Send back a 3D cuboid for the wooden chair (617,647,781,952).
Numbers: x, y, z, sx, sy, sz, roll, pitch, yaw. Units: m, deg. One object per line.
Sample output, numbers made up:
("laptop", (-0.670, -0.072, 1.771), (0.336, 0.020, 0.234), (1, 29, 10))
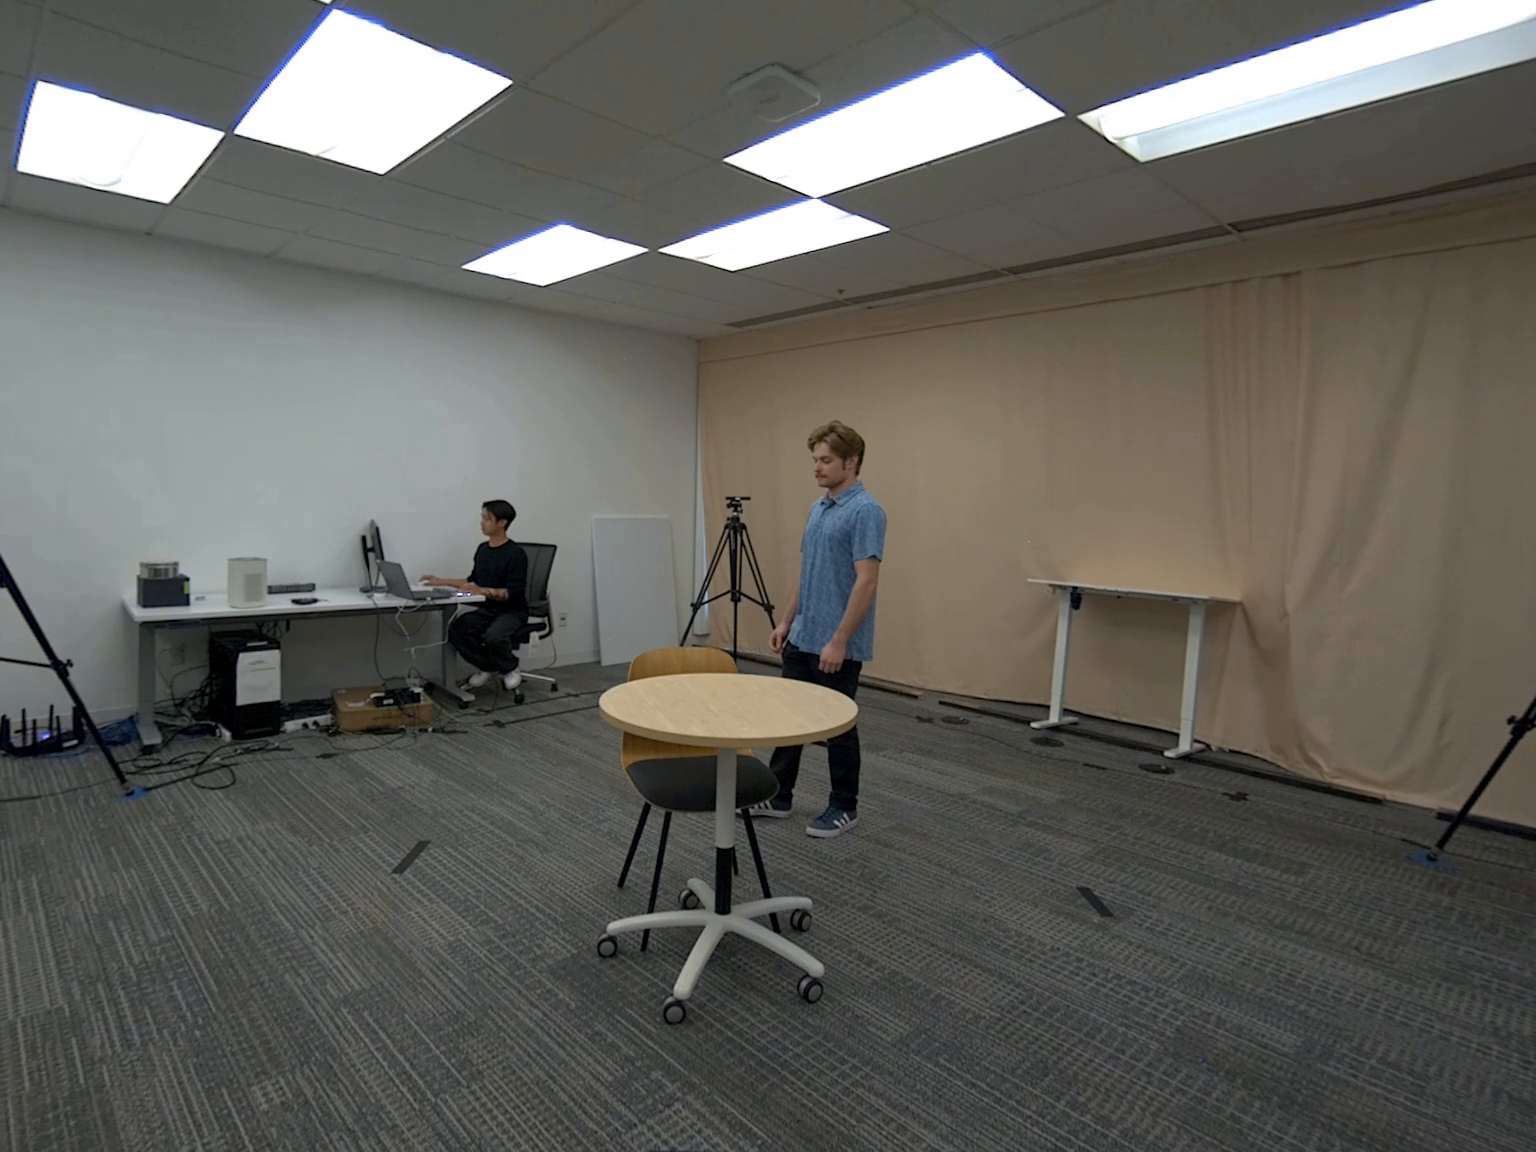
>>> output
("wooden chair", (-0.243, 0.703, 2.813), (0.471, 0.878, 0.530), (1, -1, -19))
